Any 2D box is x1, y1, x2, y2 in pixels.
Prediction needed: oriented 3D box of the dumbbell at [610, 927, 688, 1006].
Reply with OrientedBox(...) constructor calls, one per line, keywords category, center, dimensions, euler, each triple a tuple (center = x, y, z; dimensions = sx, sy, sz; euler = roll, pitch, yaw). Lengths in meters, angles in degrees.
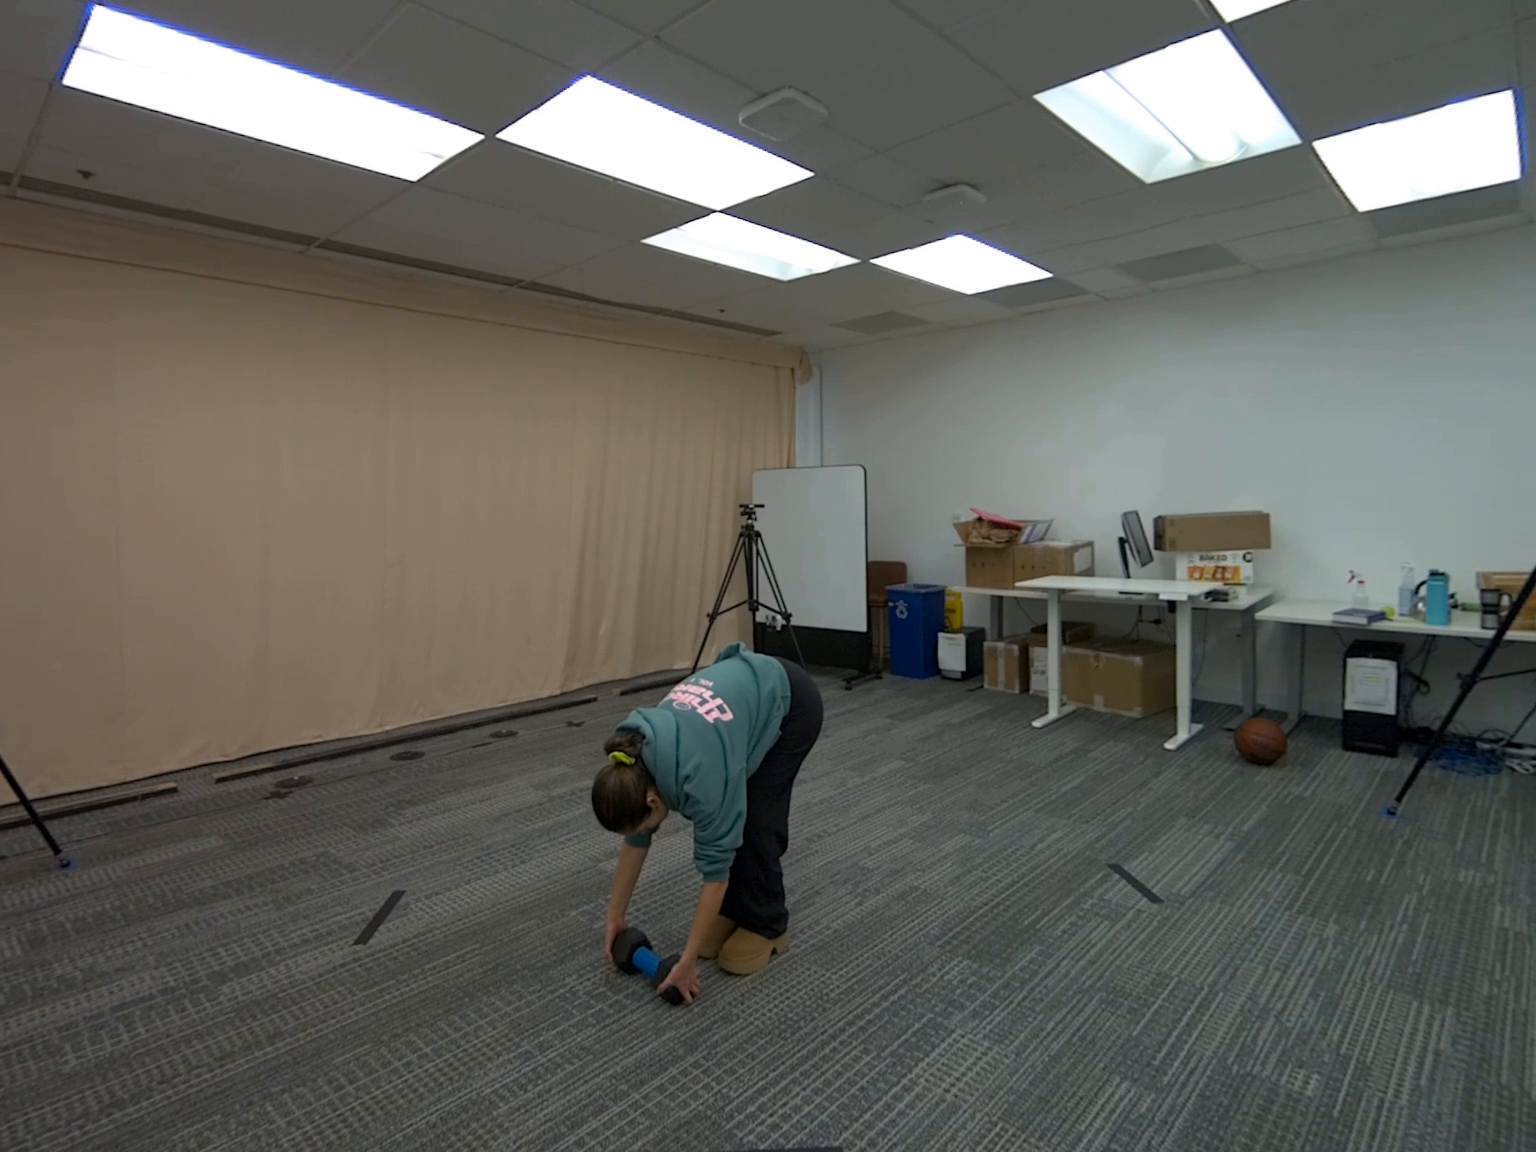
OrientedBox(category="dumbbell", center=(-0.339, 1.146, 2.450), dimensions=(0.303, 0.120, 0.107), euler=(2, 35, 44))
